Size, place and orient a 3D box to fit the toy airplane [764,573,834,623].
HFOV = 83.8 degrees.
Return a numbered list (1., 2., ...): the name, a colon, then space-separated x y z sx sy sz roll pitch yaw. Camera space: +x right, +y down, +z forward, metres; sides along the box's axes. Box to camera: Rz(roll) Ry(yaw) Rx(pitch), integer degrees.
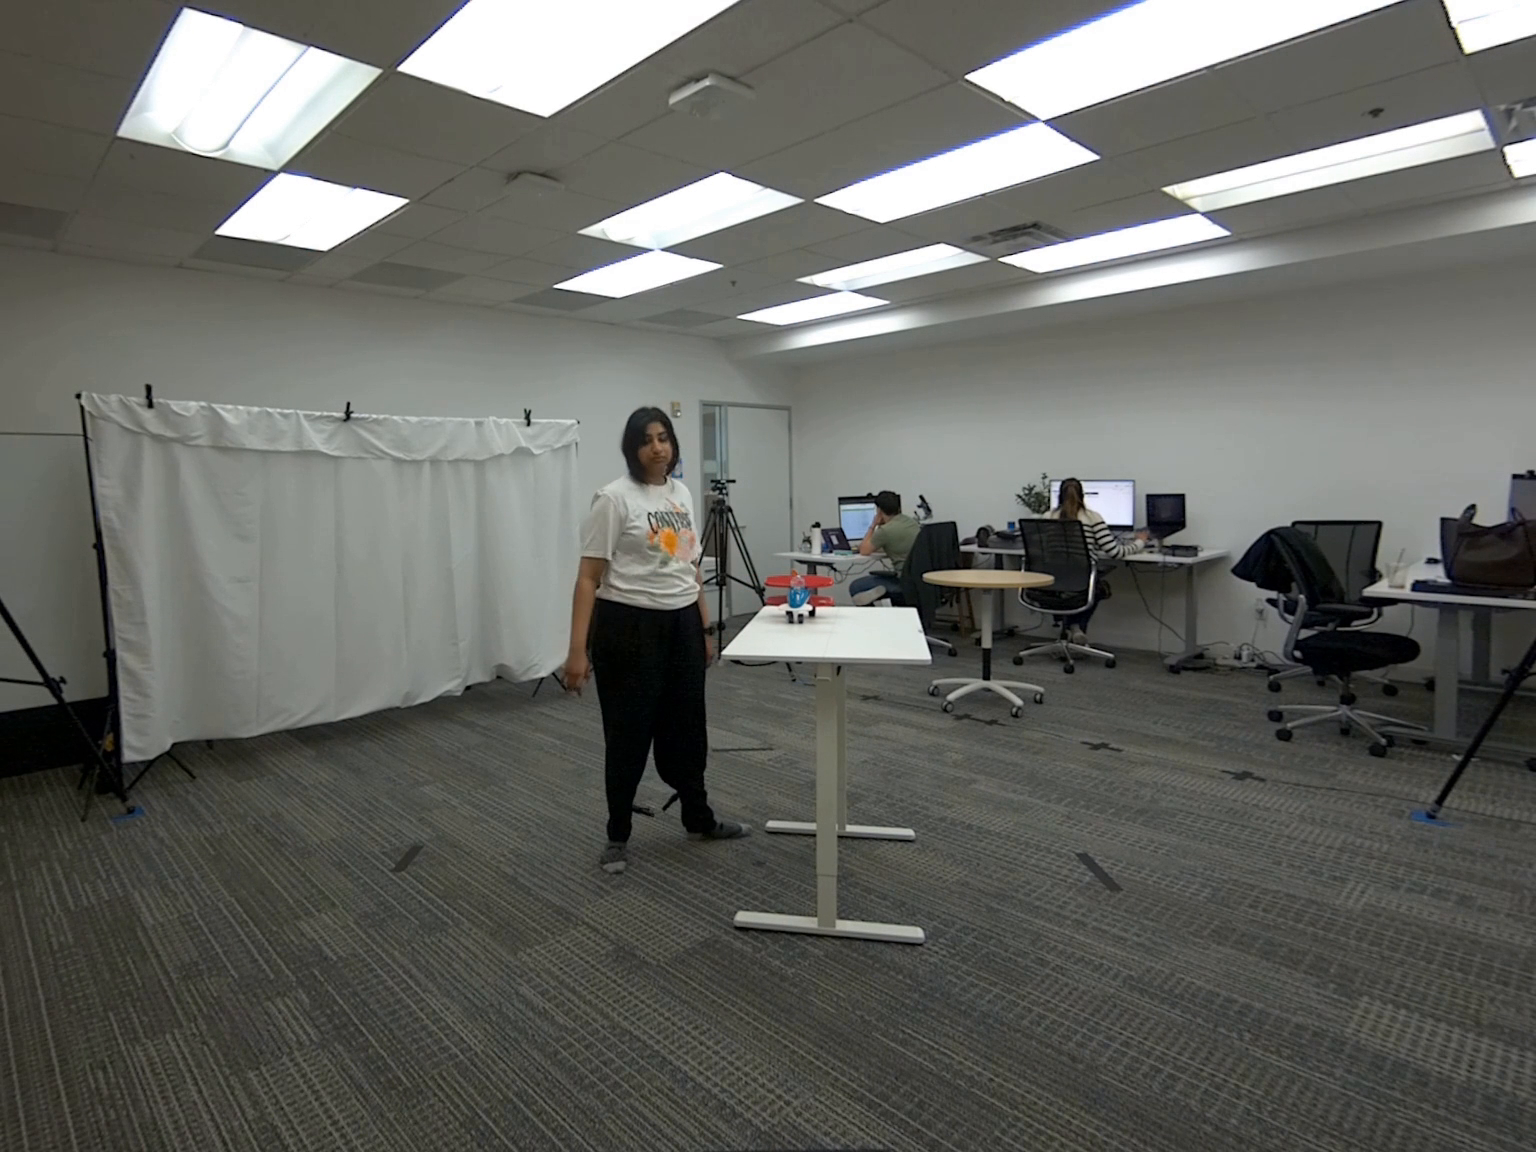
1. toy airplane: 0.134 0.081 3.134 0.247 0.155 0.265 -4 7 -19
